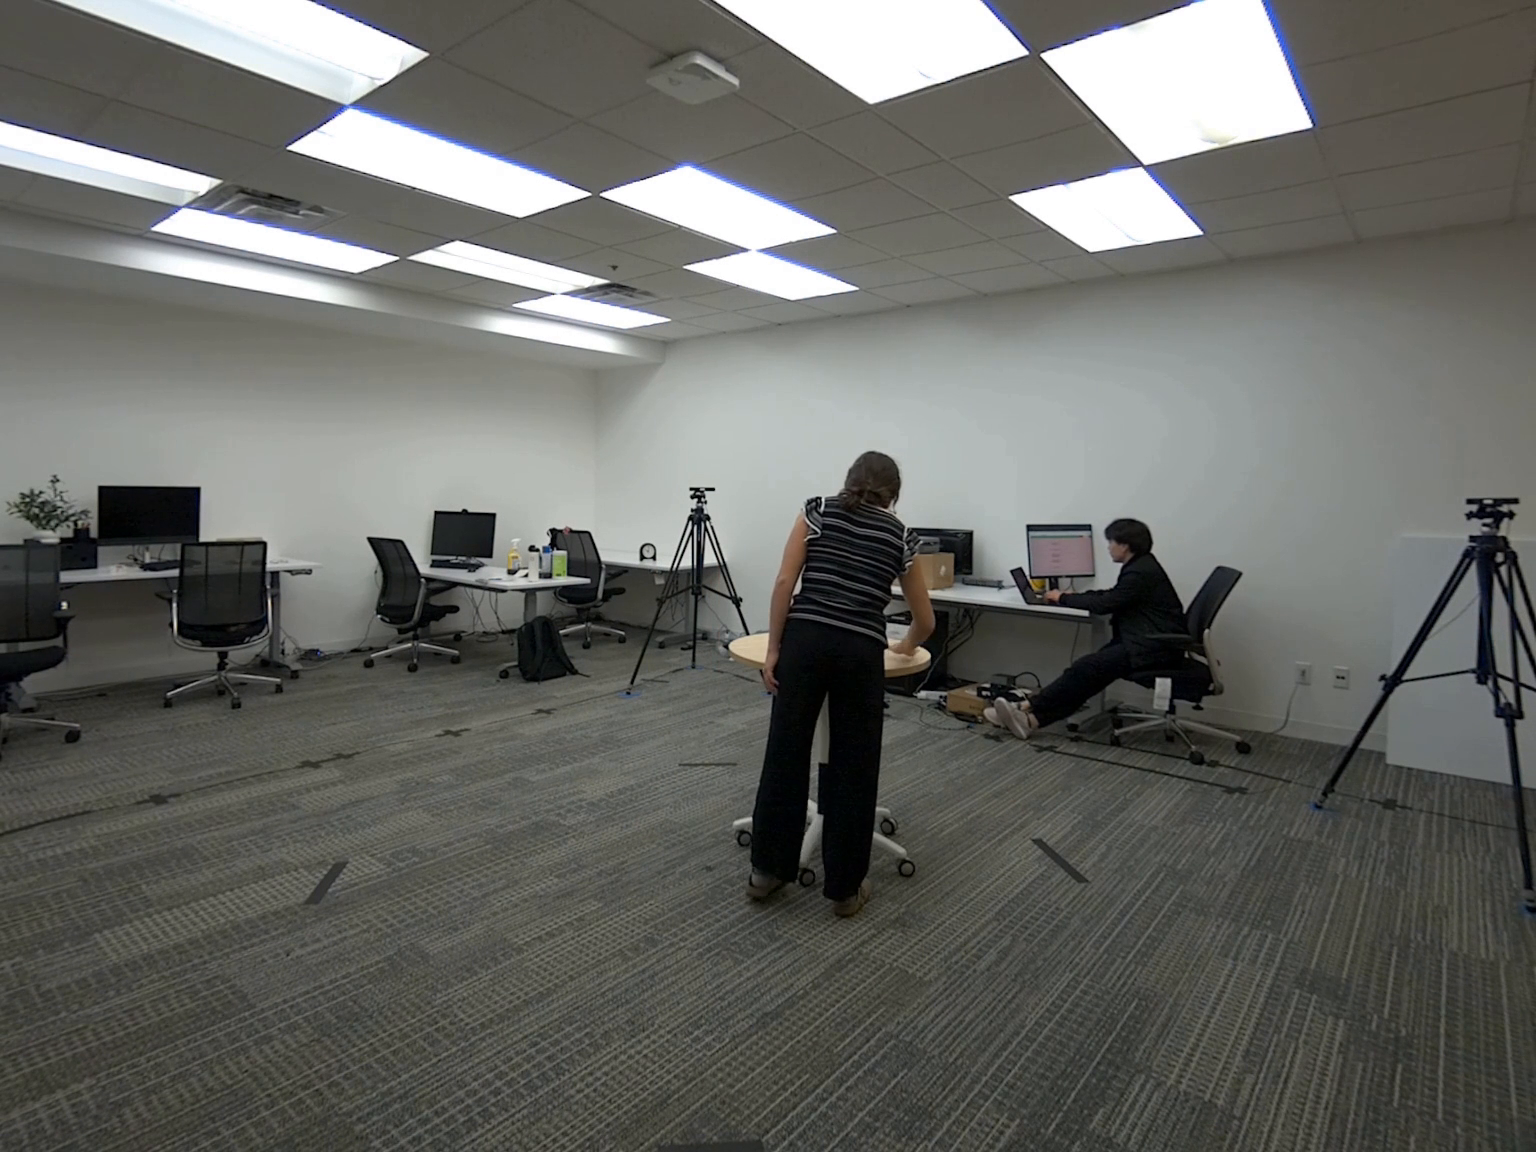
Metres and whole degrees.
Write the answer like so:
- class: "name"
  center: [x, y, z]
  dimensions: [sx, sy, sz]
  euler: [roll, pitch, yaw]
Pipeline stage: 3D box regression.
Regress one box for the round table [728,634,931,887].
- class: "round table"
  center: [0.216, 0.668, 3.294]
  dimensions: [0.763, 0.791, 0.768]
  euler: [1, 4, -2]
